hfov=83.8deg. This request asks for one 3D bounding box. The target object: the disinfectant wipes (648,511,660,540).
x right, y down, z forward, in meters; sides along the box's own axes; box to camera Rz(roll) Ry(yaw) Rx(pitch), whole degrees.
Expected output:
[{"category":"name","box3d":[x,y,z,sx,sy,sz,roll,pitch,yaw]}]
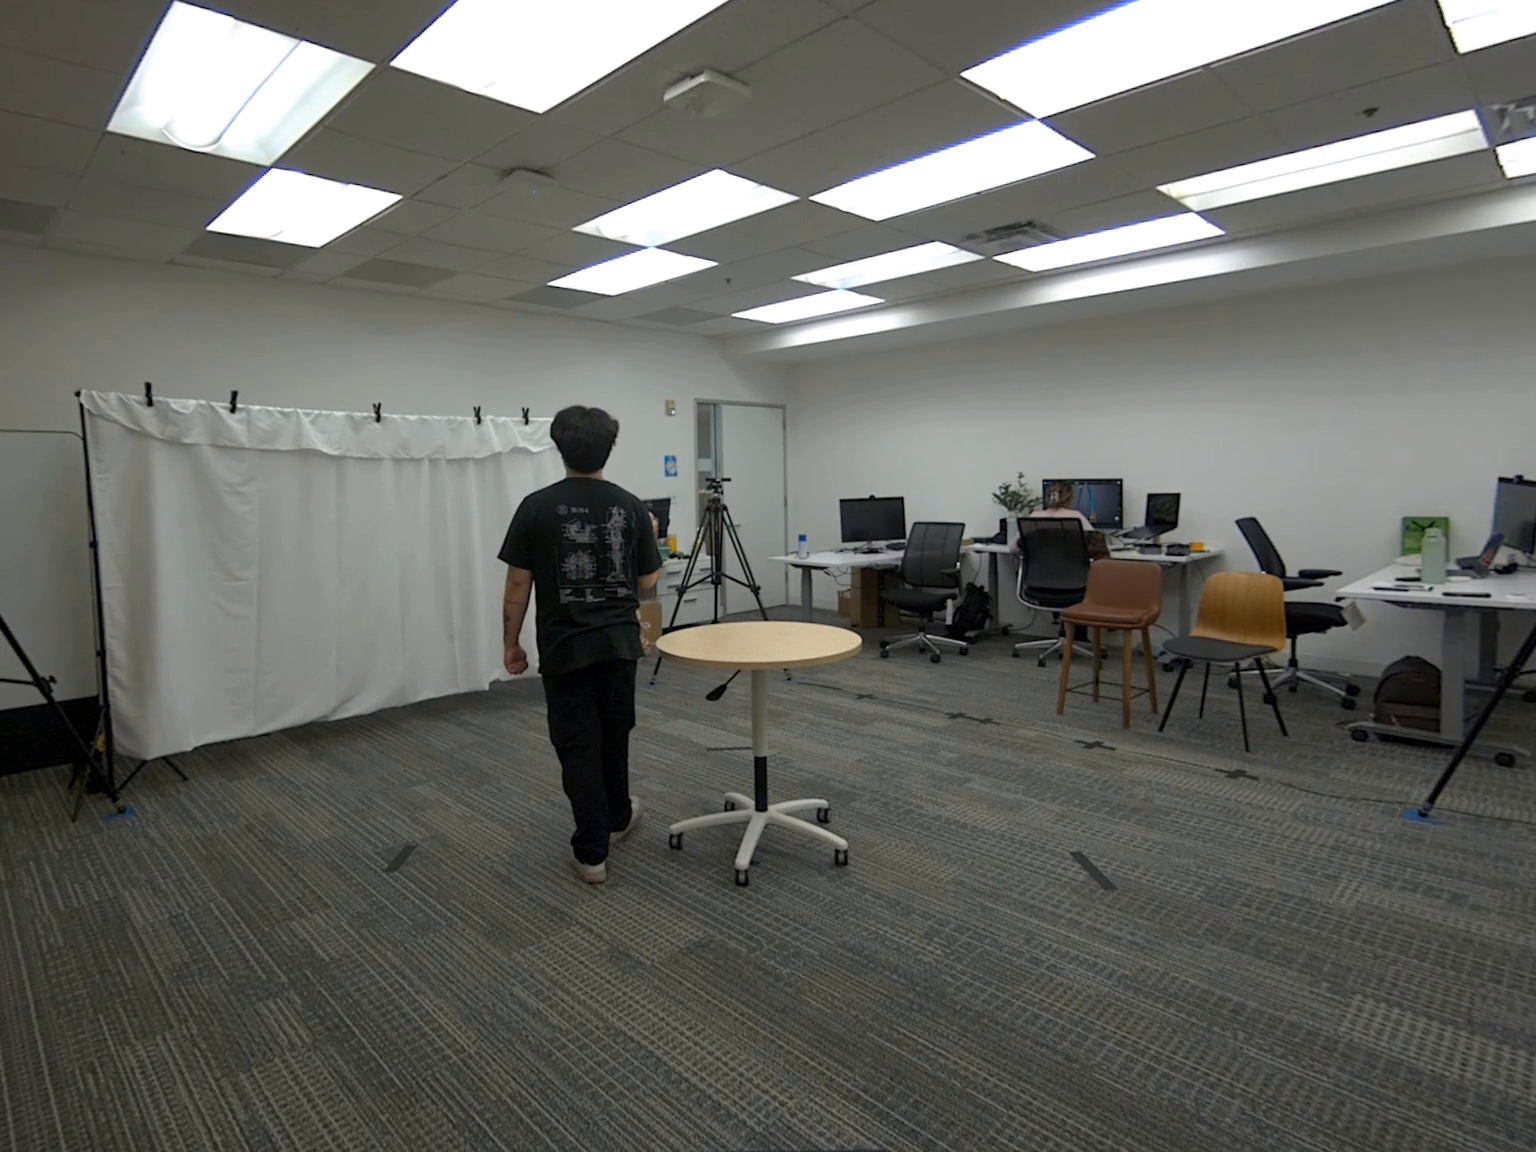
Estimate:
[{"category":"disinfectant wipes","box3d":[-0.529,-0.155,3.461,0.117,0.215,0.119,11,14,-4]}]
